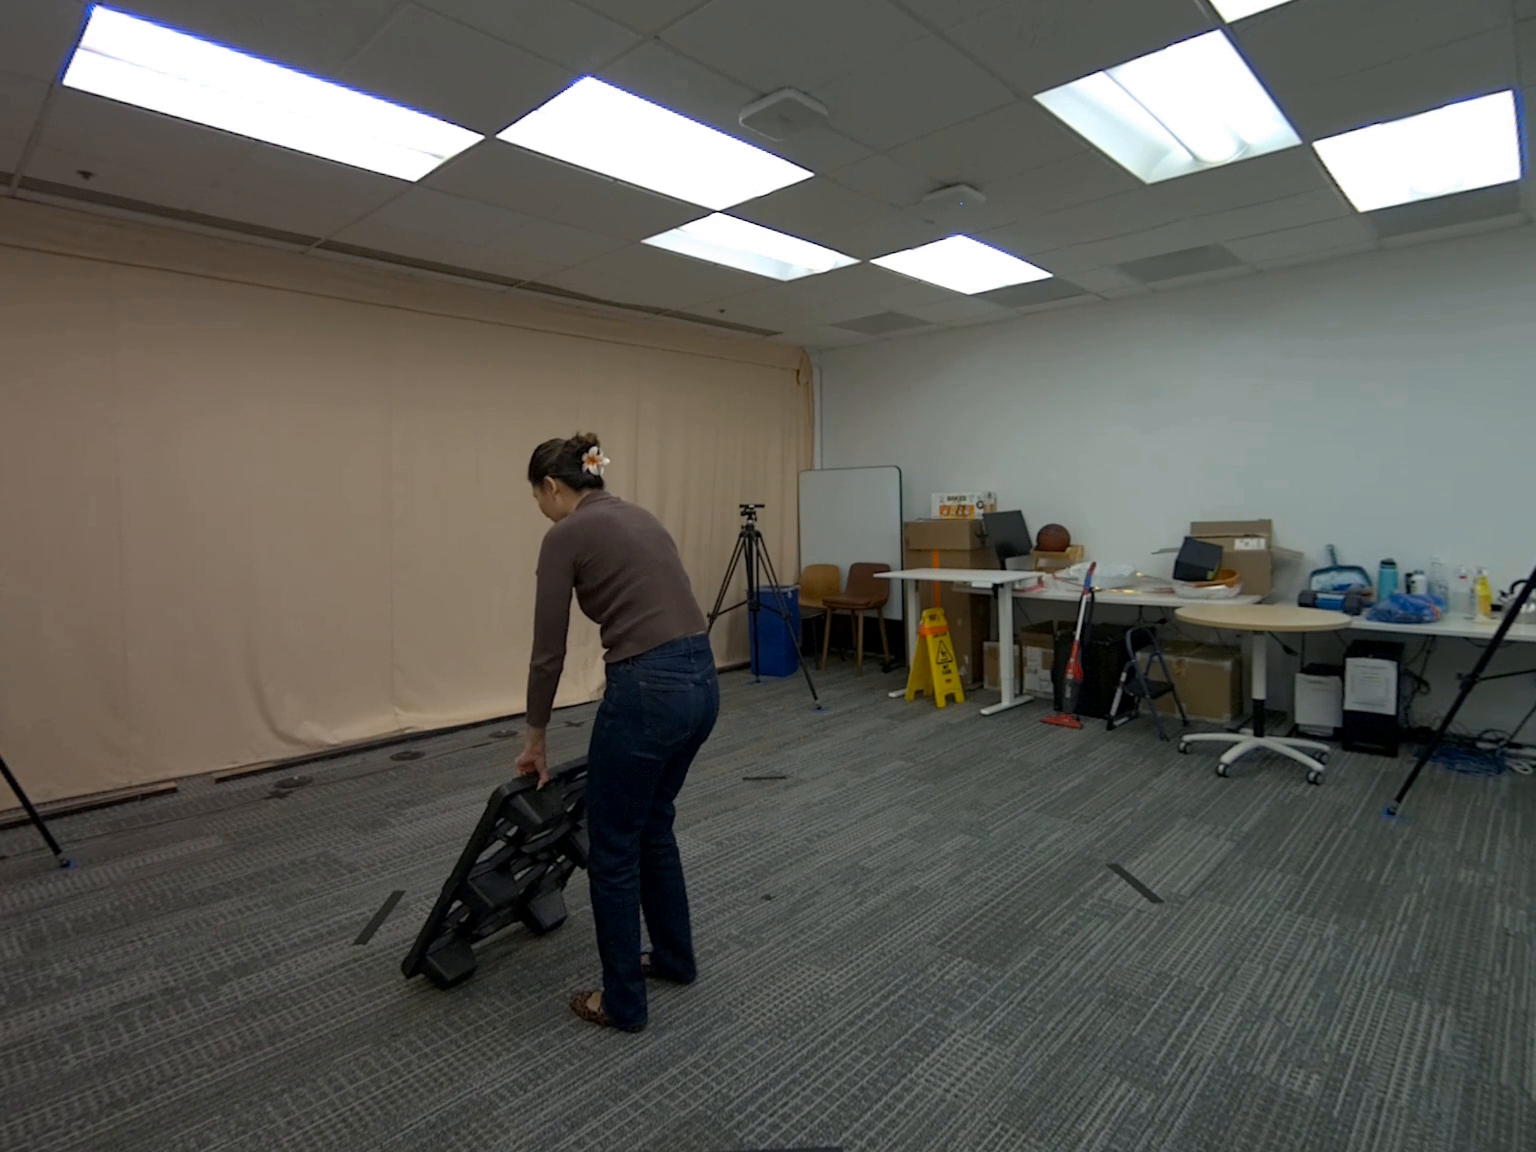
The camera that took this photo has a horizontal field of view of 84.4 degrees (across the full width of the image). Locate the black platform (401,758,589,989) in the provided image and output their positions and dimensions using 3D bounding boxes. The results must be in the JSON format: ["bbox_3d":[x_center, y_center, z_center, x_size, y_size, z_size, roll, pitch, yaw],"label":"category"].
[{"bbox_3d":[-0.685,0.858,2.510,0.147,0.805,0.589,41,25,22],"label":"black platform"}]
